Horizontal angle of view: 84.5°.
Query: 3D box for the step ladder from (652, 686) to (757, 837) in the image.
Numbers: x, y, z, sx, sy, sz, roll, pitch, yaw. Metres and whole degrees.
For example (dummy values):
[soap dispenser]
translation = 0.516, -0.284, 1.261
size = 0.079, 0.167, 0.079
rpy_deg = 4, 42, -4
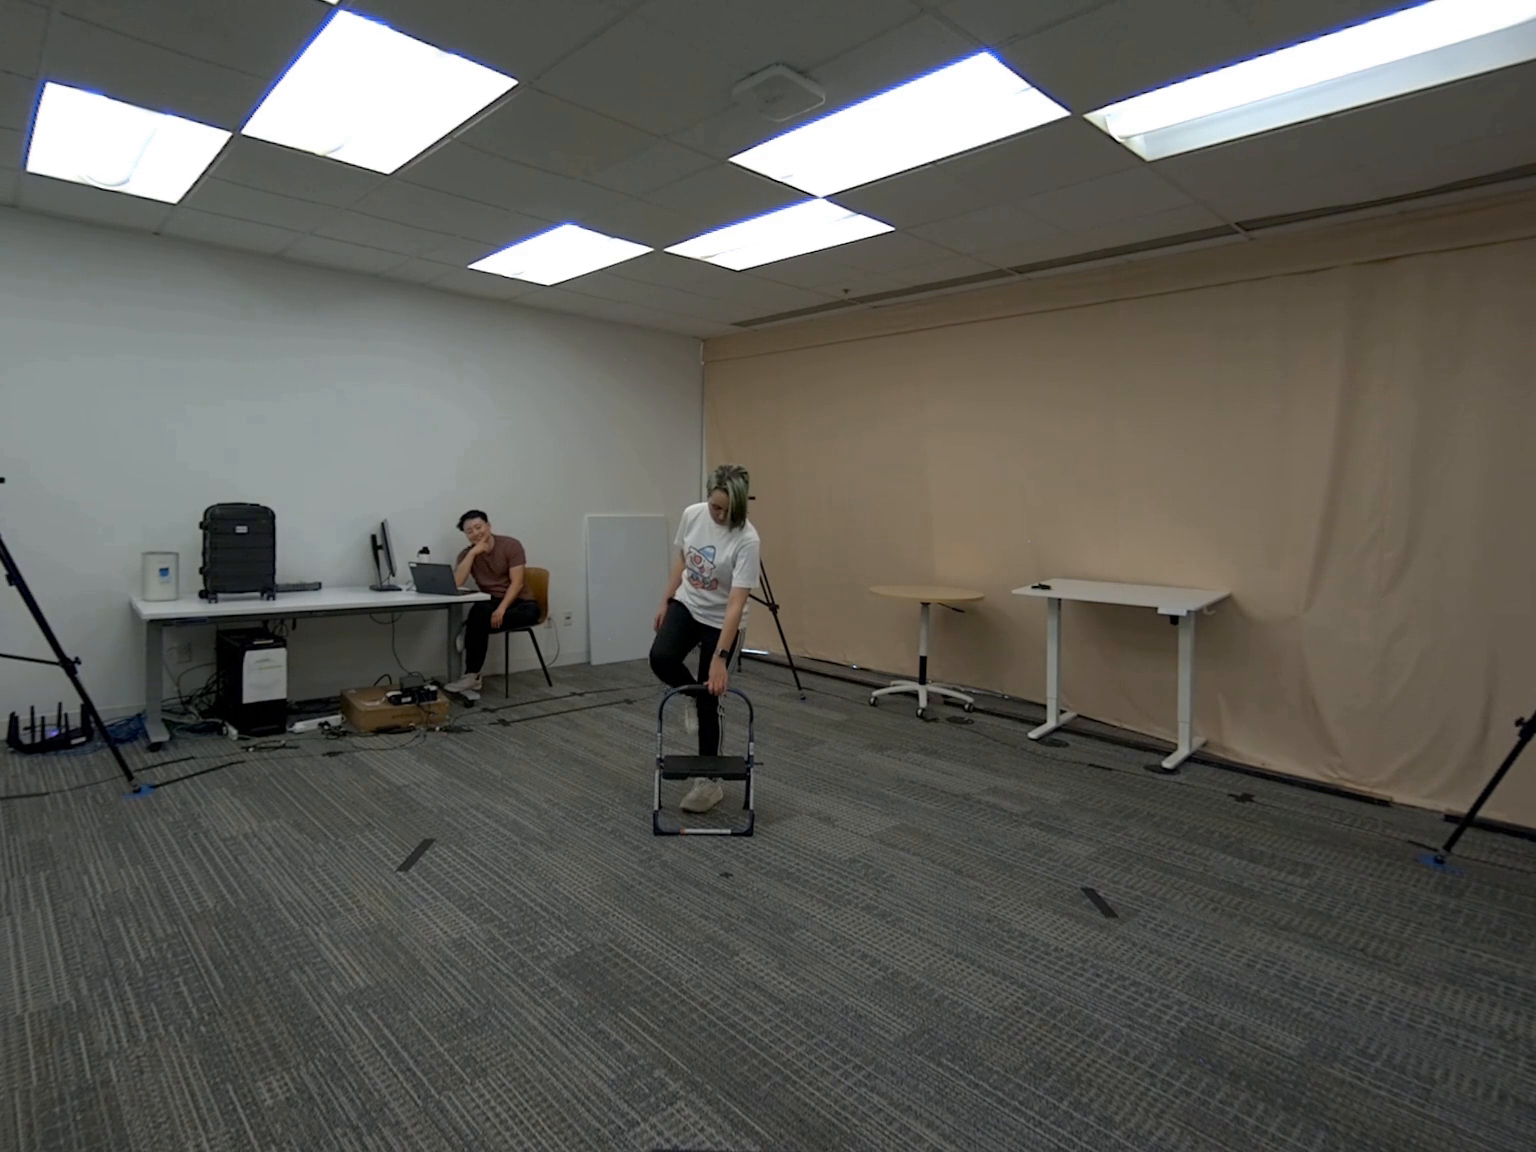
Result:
[step ladder]
translation = -0.281, 0.758, 3.616
size = 0.429, 0.605, 0.351
rpy_deg = 1, 3, -4
